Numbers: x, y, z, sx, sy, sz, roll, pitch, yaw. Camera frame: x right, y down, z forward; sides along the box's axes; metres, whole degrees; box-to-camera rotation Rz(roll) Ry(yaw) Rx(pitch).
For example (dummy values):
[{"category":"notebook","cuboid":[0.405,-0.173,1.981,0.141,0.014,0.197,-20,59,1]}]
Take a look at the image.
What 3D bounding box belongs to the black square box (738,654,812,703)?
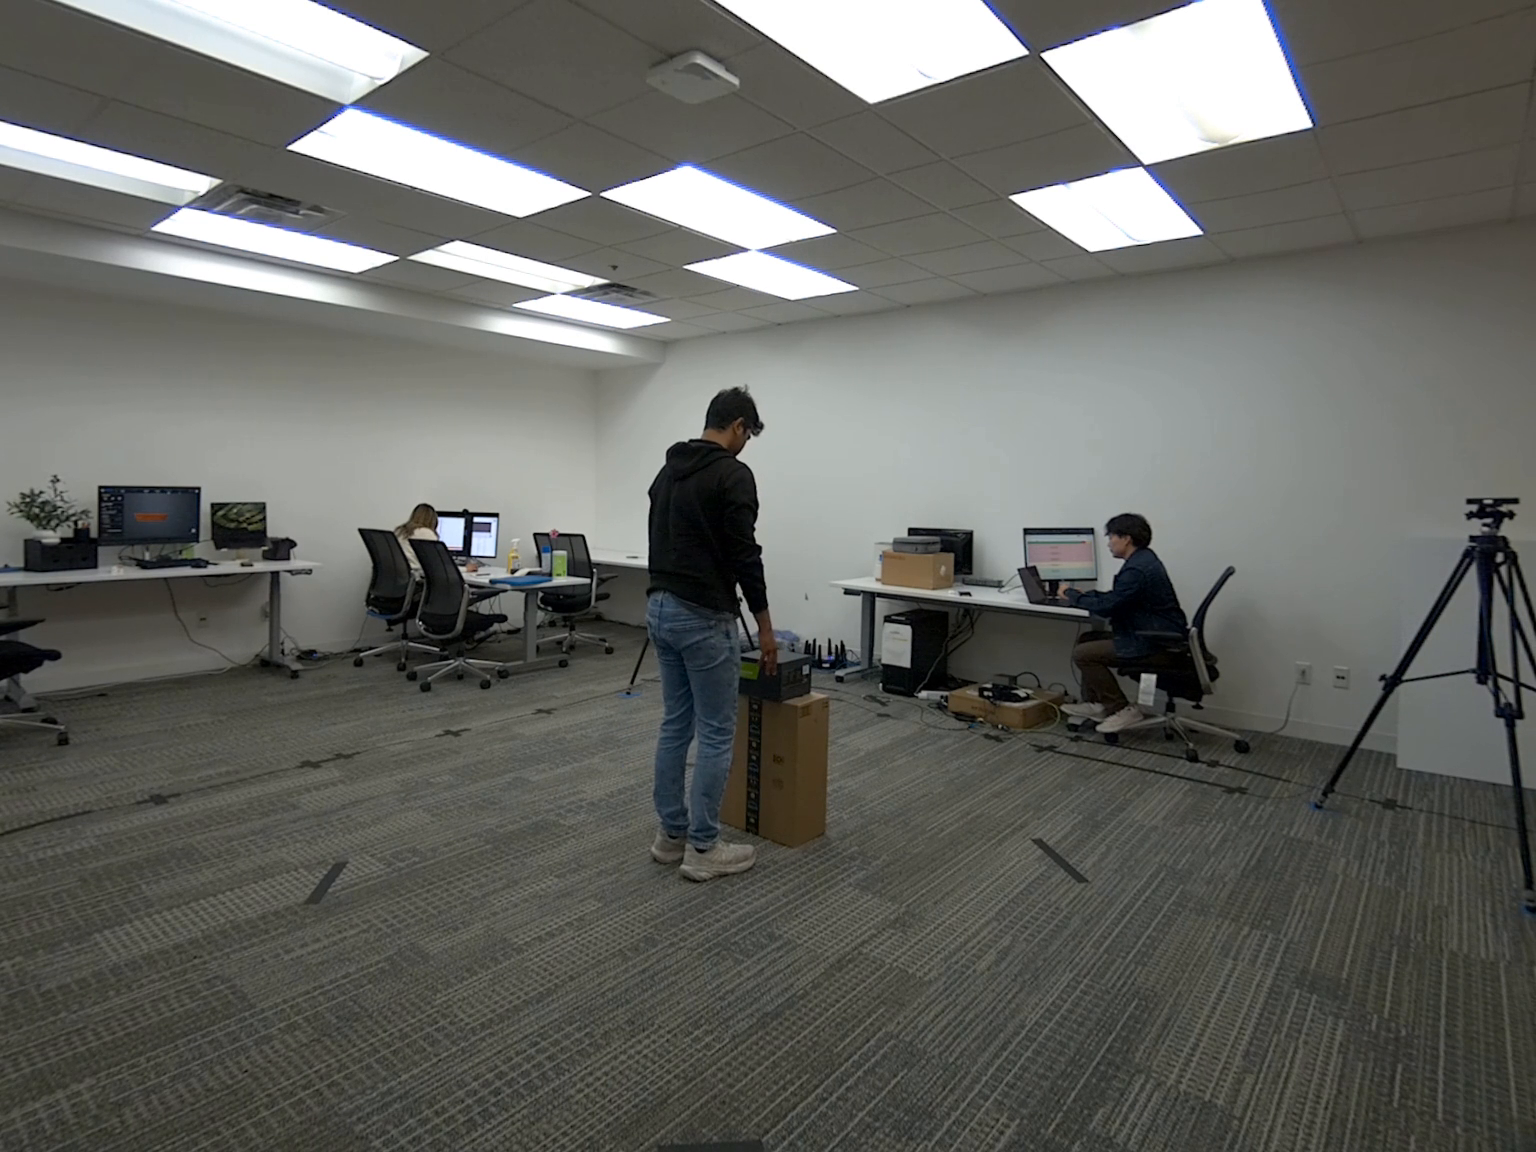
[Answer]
[{"category":"black square box","cuboid":[0.016,0.392,3.446,0.235,0.155,0.211,5,6,38]}]
